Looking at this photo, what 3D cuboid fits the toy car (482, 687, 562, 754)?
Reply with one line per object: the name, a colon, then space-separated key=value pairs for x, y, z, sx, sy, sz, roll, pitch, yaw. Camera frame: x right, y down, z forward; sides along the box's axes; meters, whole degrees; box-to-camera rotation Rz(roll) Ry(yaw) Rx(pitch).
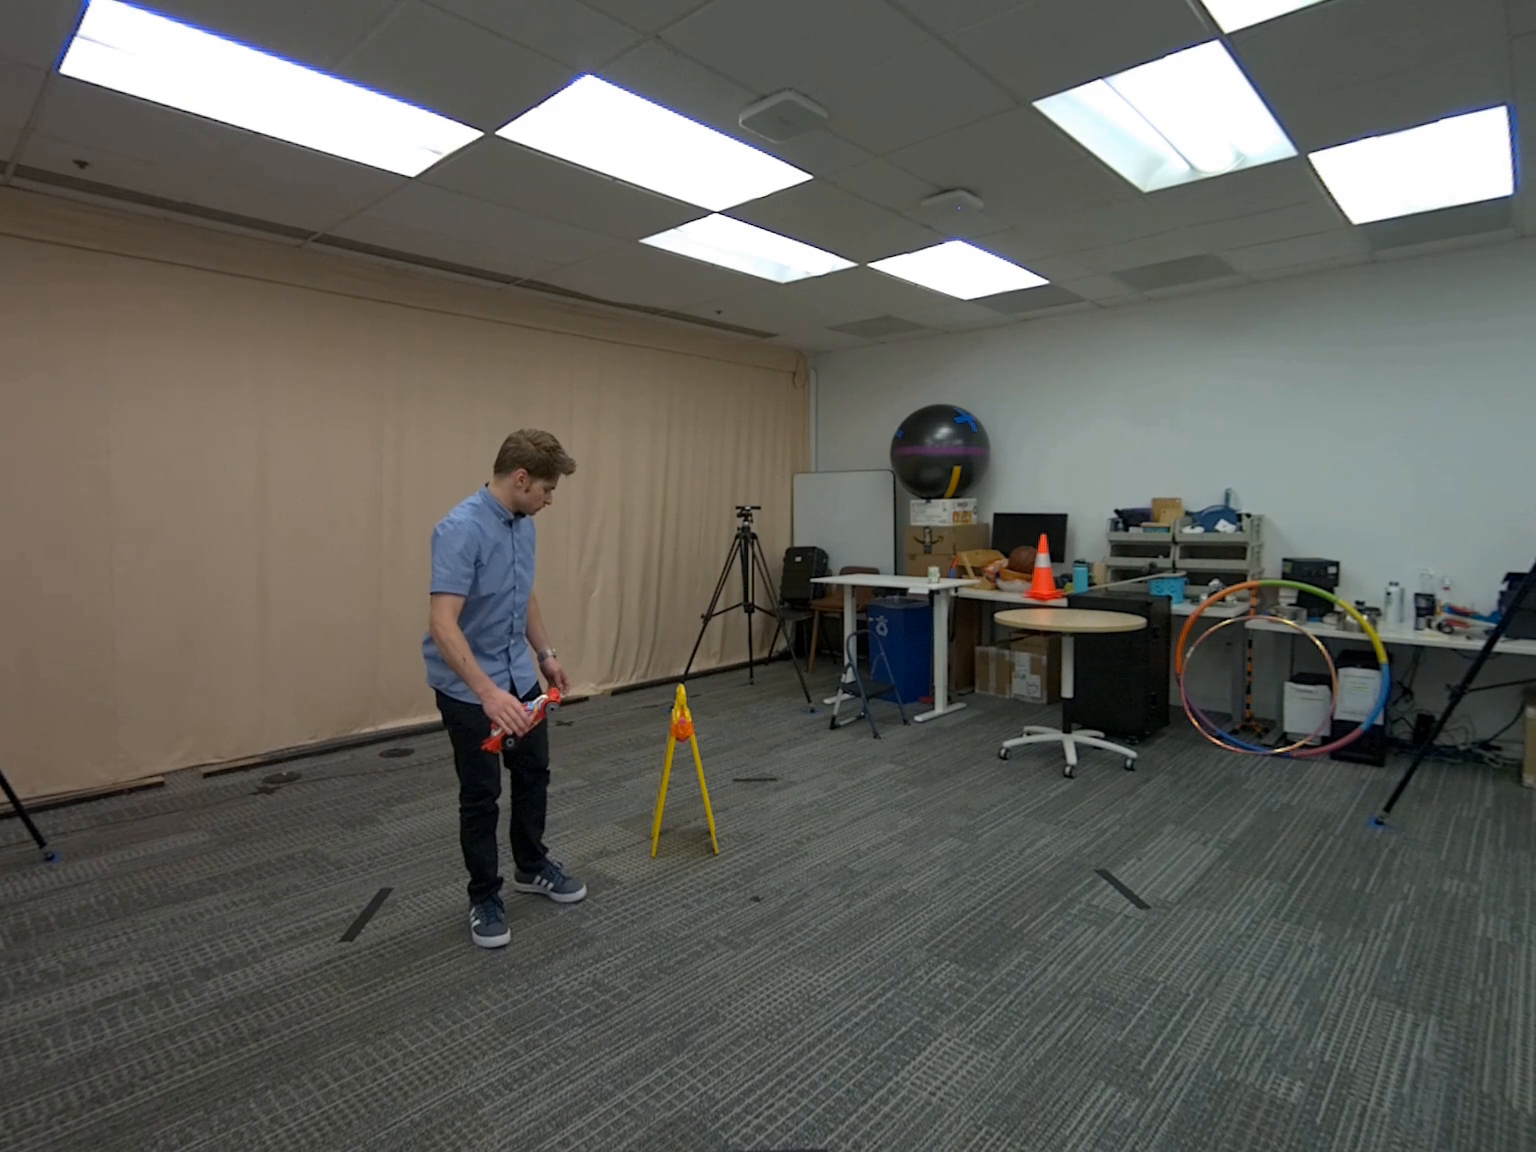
toy car: x=-0.692 y=0.419 z=2.382 sx=0.253 sy=0.082 sz=0.133 roll=-29 pitch=13 yaw=-9
